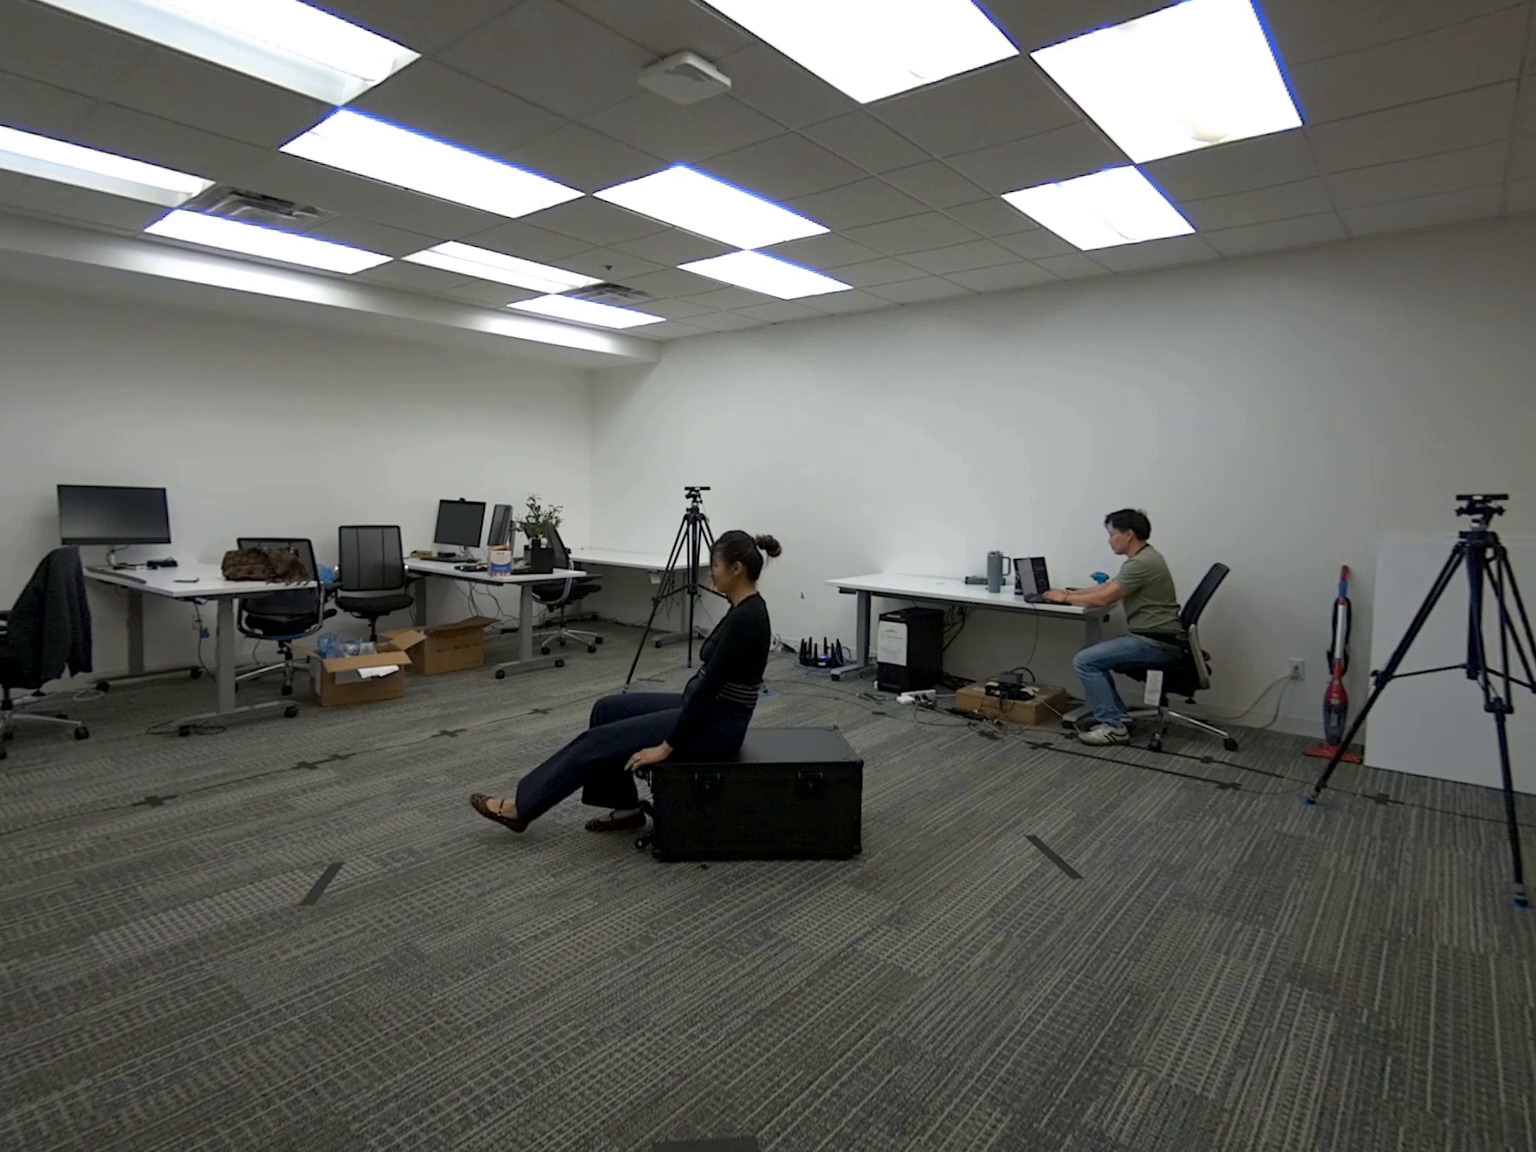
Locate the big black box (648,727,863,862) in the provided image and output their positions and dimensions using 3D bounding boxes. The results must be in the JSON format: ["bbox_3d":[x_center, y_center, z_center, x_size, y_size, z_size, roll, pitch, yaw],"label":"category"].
[{"bbox_3d":[-0.102,0.846,3.389,0.857,0.395,0.526,0,5,-5],"label":"big black box"}]
